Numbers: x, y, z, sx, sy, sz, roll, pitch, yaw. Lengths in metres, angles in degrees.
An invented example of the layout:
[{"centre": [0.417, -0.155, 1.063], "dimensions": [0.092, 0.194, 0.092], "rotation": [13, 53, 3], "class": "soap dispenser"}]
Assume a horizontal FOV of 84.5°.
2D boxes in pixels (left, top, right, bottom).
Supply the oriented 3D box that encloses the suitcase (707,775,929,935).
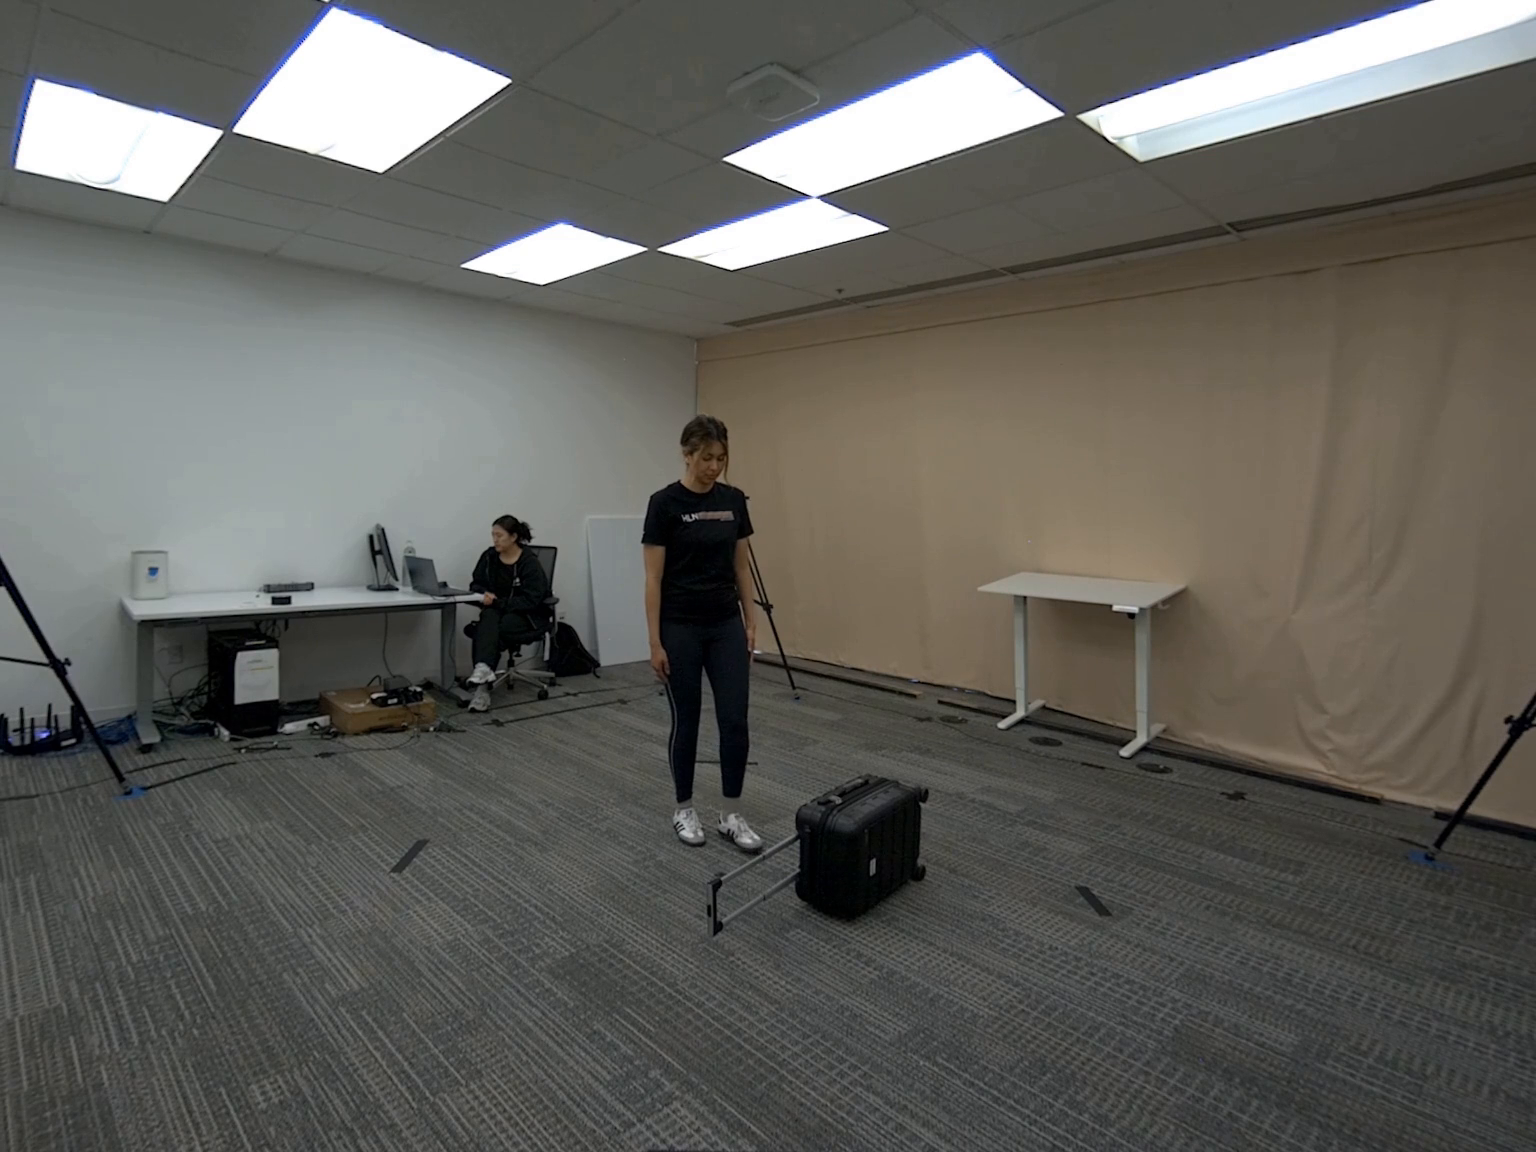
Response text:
[{"centre": [0.205, 0.952, 2.809], "dimensions": [0.263, 0.383, 0.958], "rotation": [4, 5, 36], "class": "suitcase"}]
